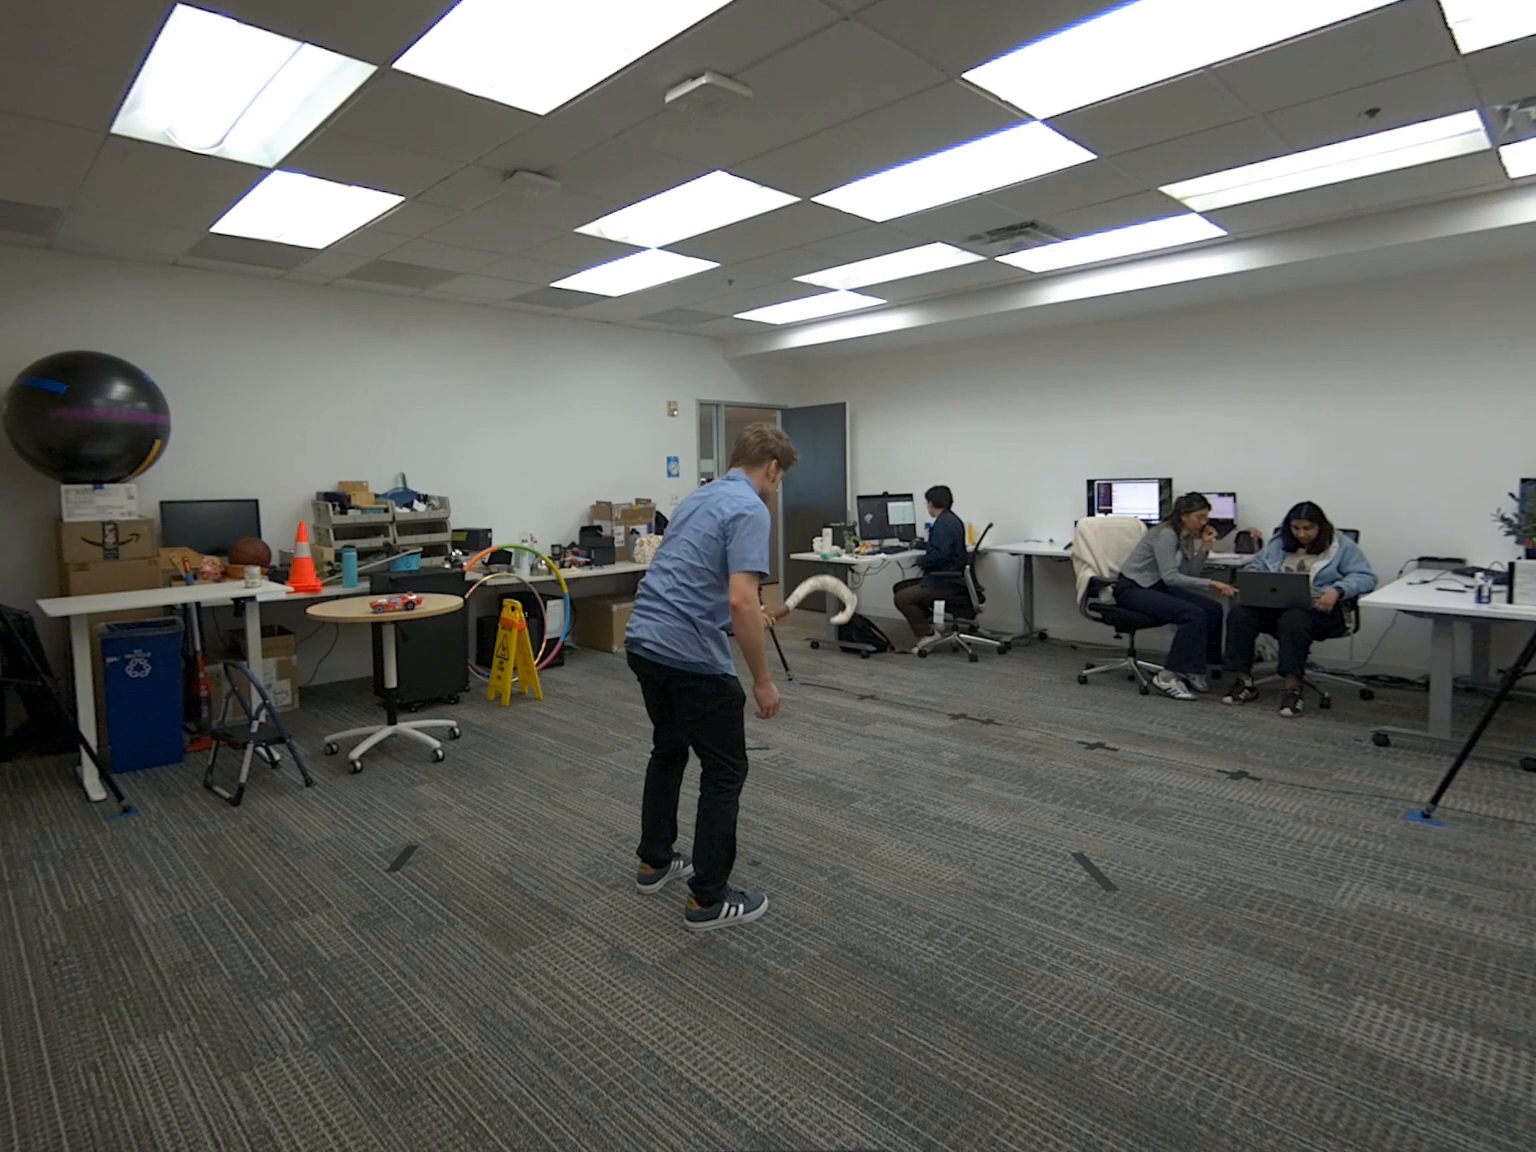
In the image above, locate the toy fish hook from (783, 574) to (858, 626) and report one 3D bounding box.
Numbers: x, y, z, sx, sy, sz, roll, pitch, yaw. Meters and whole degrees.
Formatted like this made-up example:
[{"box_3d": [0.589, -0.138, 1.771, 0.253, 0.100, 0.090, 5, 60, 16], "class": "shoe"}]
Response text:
[{"box_3d": [0.123, 0.144, 3.127, 0.498, 0.047, 0.232, -23, 52, -37], "class": "toy fish hook"}]
